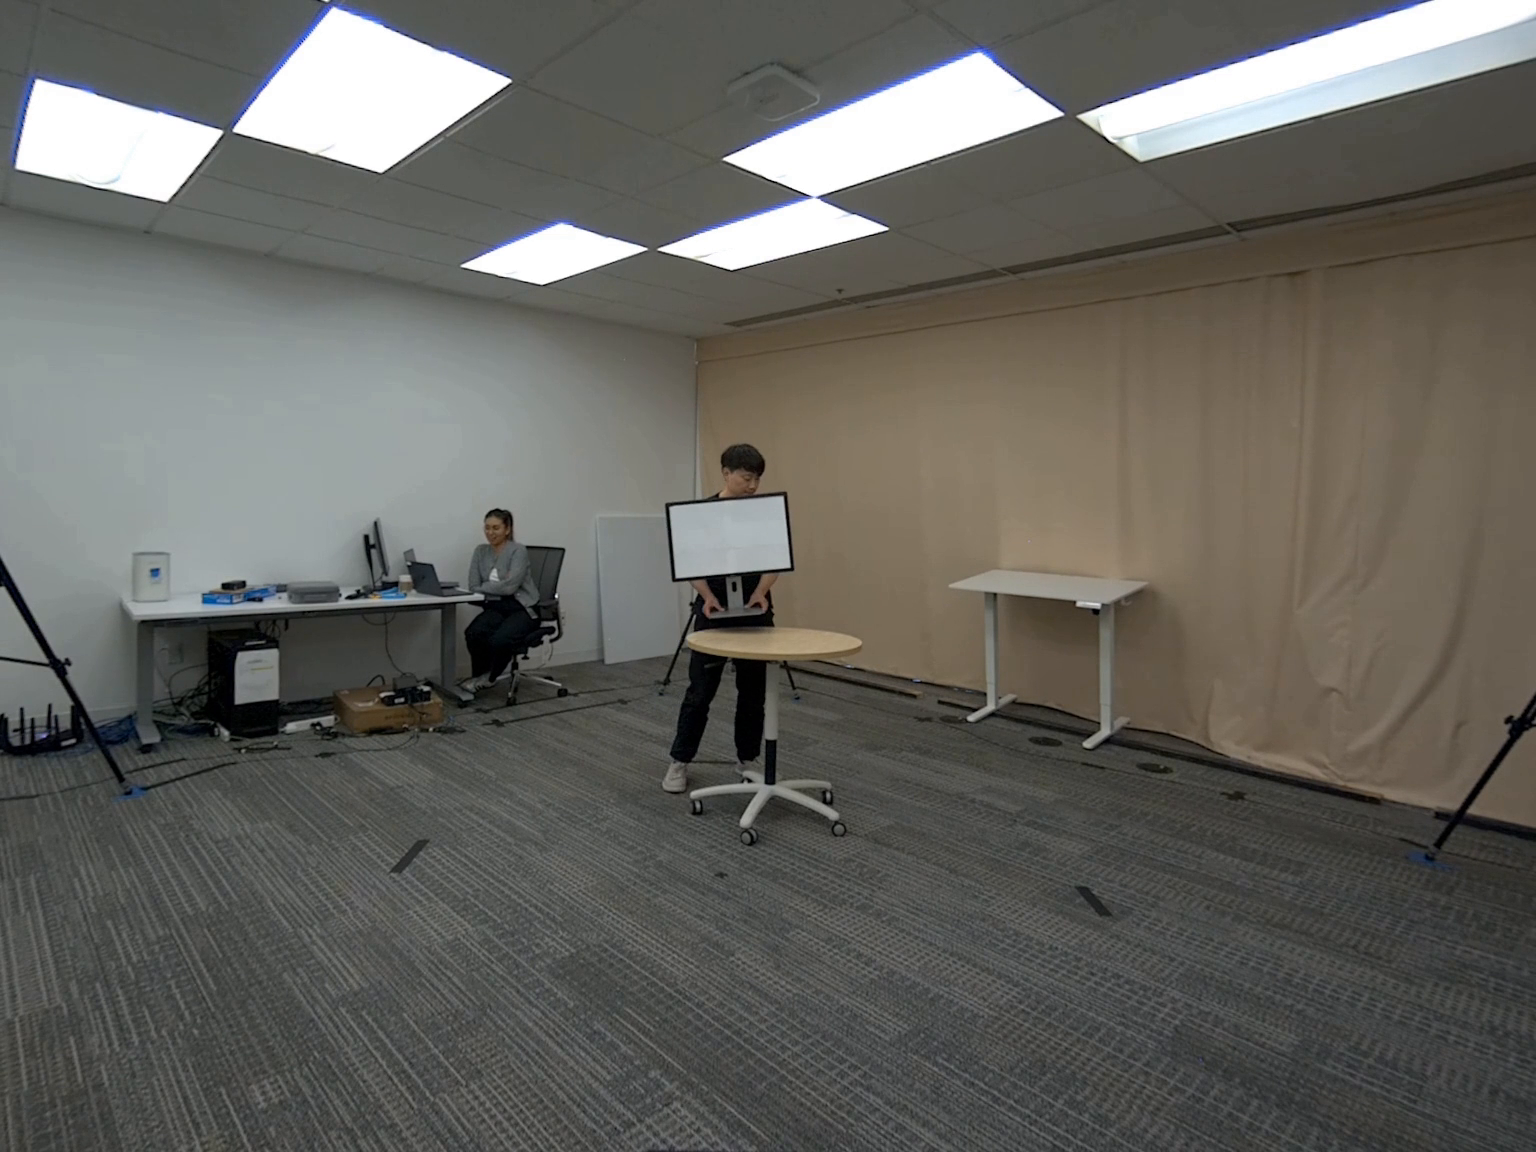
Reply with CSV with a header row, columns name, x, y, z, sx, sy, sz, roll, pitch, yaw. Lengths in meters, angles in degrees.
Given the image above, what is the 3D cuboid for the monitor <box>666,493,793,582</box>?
name,x,y,z,sx,sy,sz,roll,pitch,yaw
monitor,-0.189,-0.098,3.870,0.538,0.518,0.189,-6,10,-1
